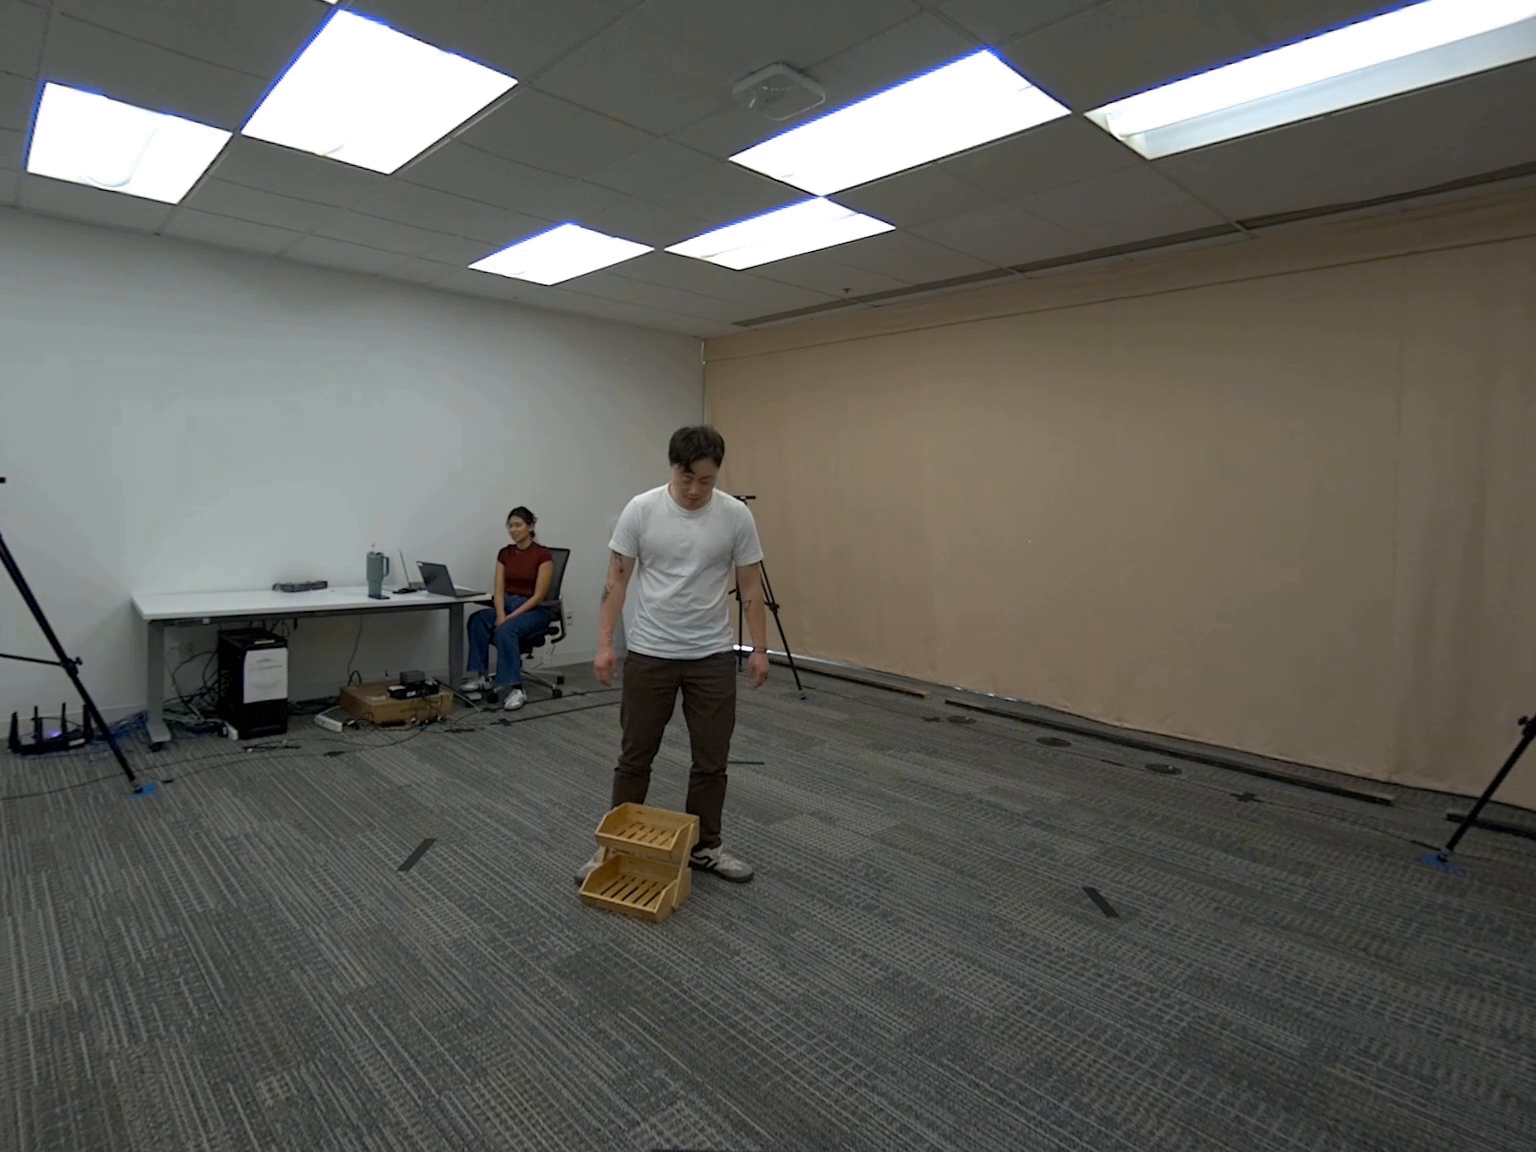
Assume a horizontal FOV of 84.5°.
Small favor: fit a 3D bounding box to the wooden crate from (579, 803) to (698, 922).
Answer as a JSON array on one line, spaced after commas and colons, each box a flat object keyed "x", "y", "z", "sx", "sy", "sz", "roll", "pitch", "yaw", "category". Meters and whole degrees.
[{"x": -0.445, "y": 0.989, "z": 2.895, "sx": 0.330, "sy": 0.273, "sz": 0.297, "roll": 3, "pitch": 3, "yaw": 21, "category": "wooden crate"}]
